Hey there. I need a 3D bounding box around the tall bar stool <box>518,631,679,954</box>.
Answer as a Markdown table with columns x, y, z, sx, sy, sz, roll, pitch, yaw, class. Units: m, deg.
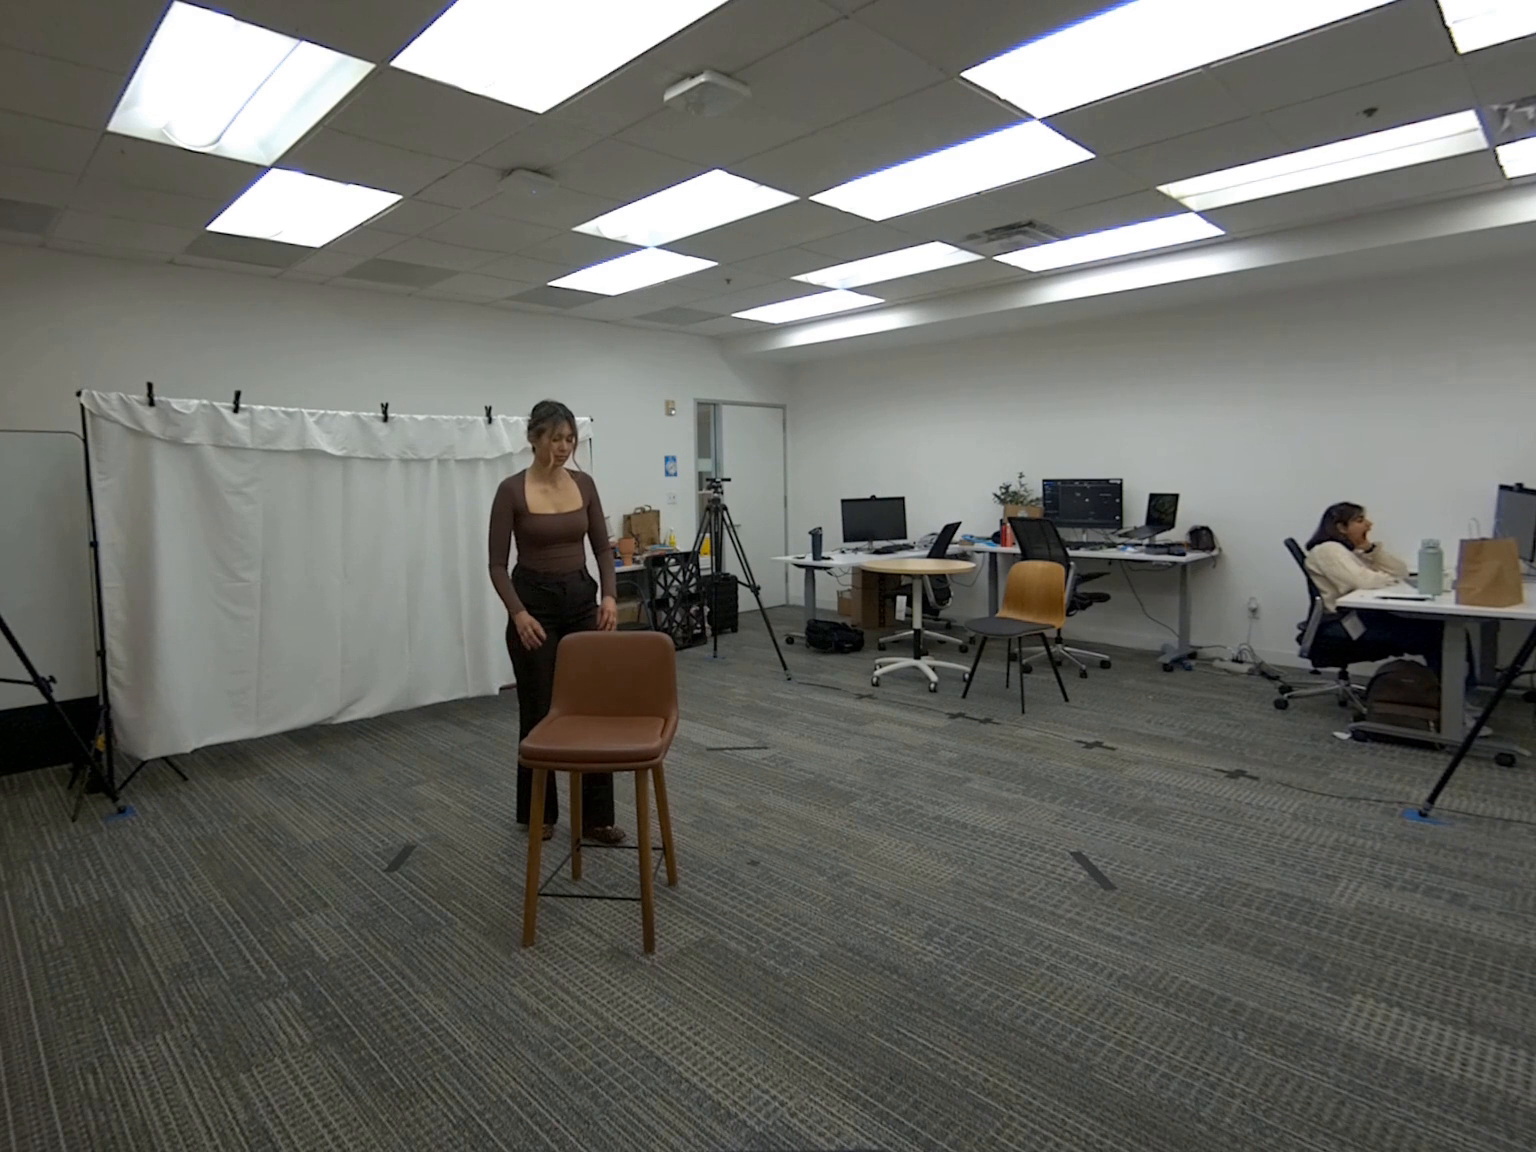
| x | y | z | sx | sy | sz | roll | pitch | yaw | class |
| --- | --- | --- | --- | --- | --- | --- | --- | --- | --- |
| -0.530 | 0.656 | 2.752 | 0.461 | 0.888 | 0.464 | 0 | 3 | 9 | tall bar stool |
